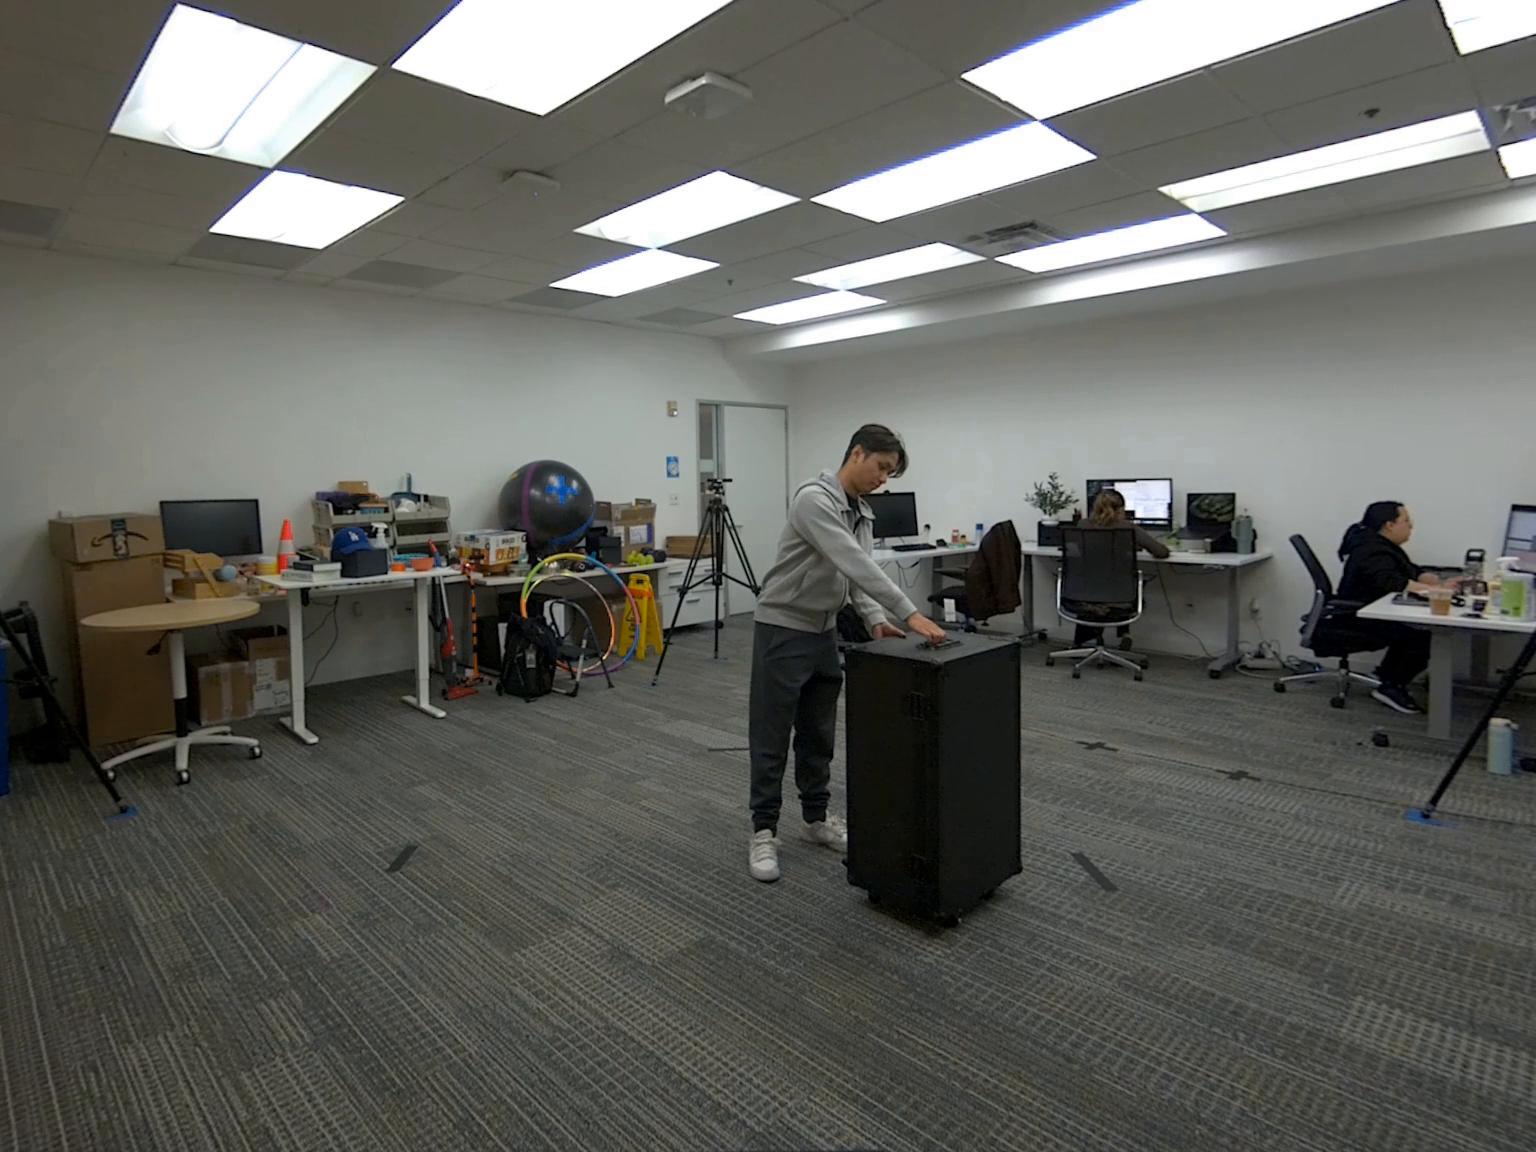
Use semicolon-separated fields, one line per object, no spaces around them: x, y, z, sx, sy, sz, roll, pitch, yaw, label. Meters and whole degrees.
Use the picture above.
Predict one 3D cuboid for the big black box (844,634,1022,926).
0.539;0.647;2.802;0.507;0.859;0.408;-6;5;-44;big black box
